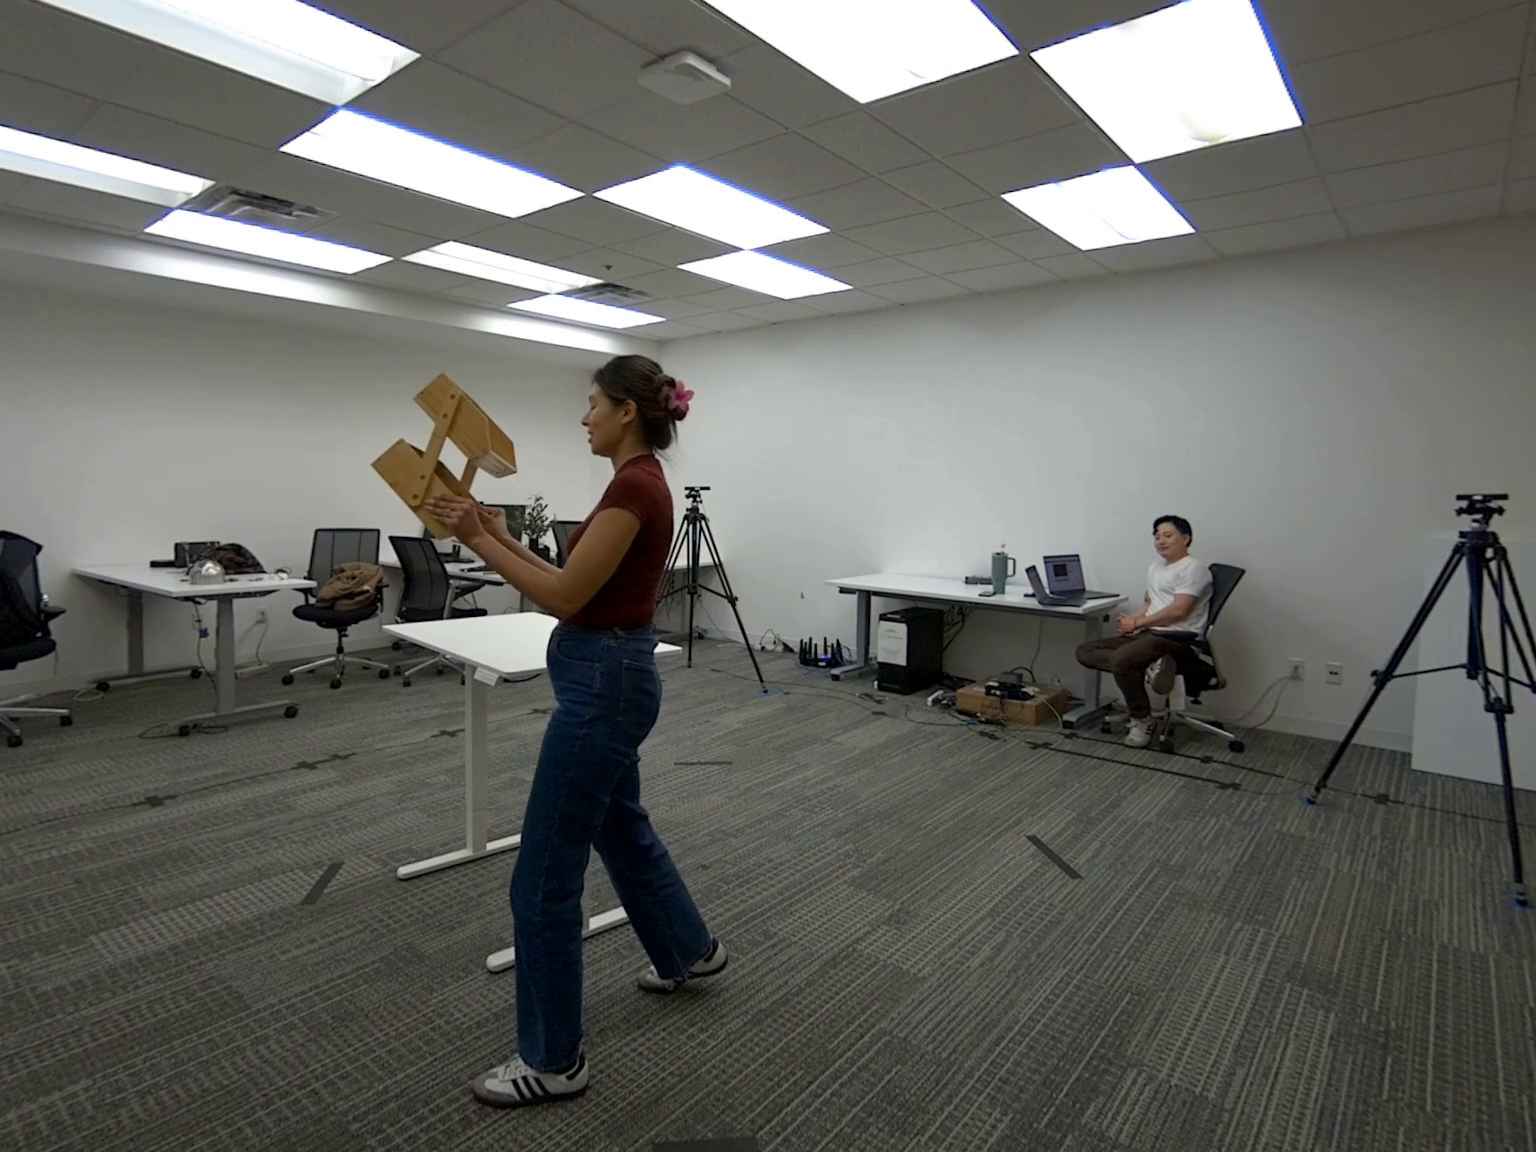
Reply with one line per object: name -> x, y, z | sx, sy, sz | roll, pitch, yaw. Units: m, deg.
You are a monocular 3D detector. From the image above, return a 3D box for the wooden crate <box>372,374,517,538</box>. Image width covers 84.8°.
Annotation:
wooden crate -> -0.738, -0.258, 2.056 | 0.273, 0.302, 0.324 | -44, 1, -4
